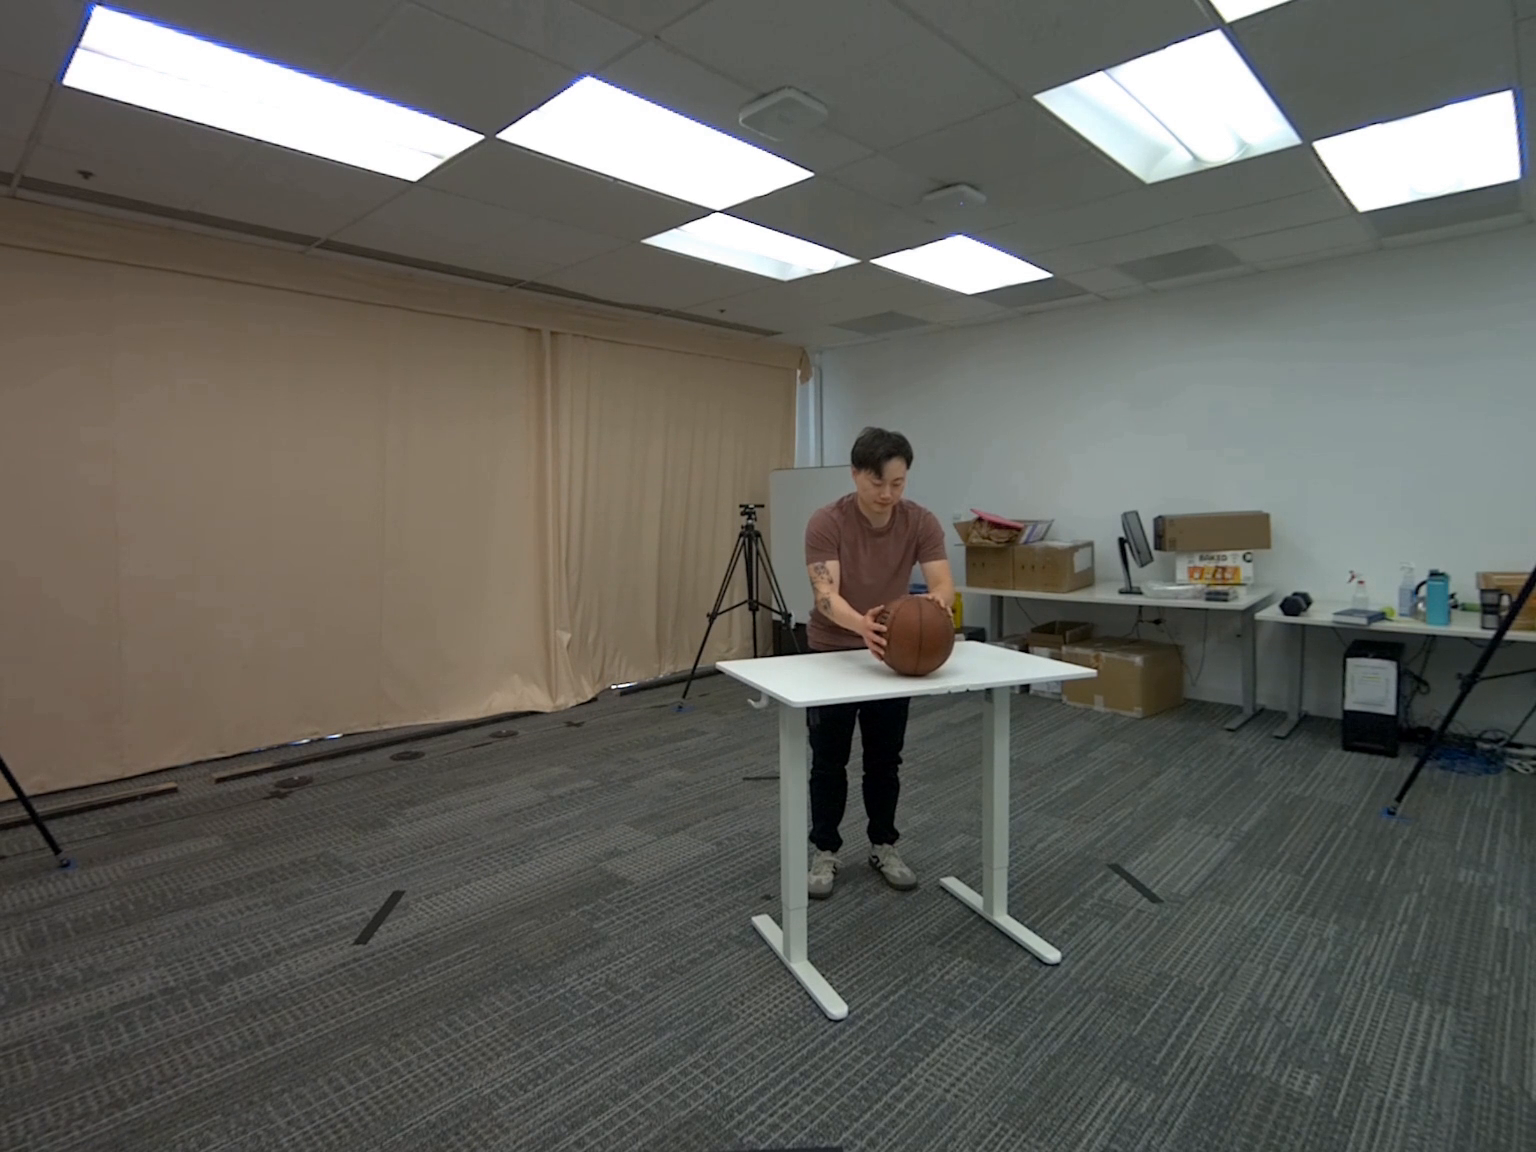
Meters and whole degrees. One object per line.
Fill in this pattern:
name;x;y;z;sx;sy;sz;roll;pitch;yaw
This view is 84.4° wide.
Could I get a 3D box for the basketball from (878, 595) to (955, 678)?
basketball;0.427;0.175;2.479;0.236;0.235;0.237;-1;4;-2
